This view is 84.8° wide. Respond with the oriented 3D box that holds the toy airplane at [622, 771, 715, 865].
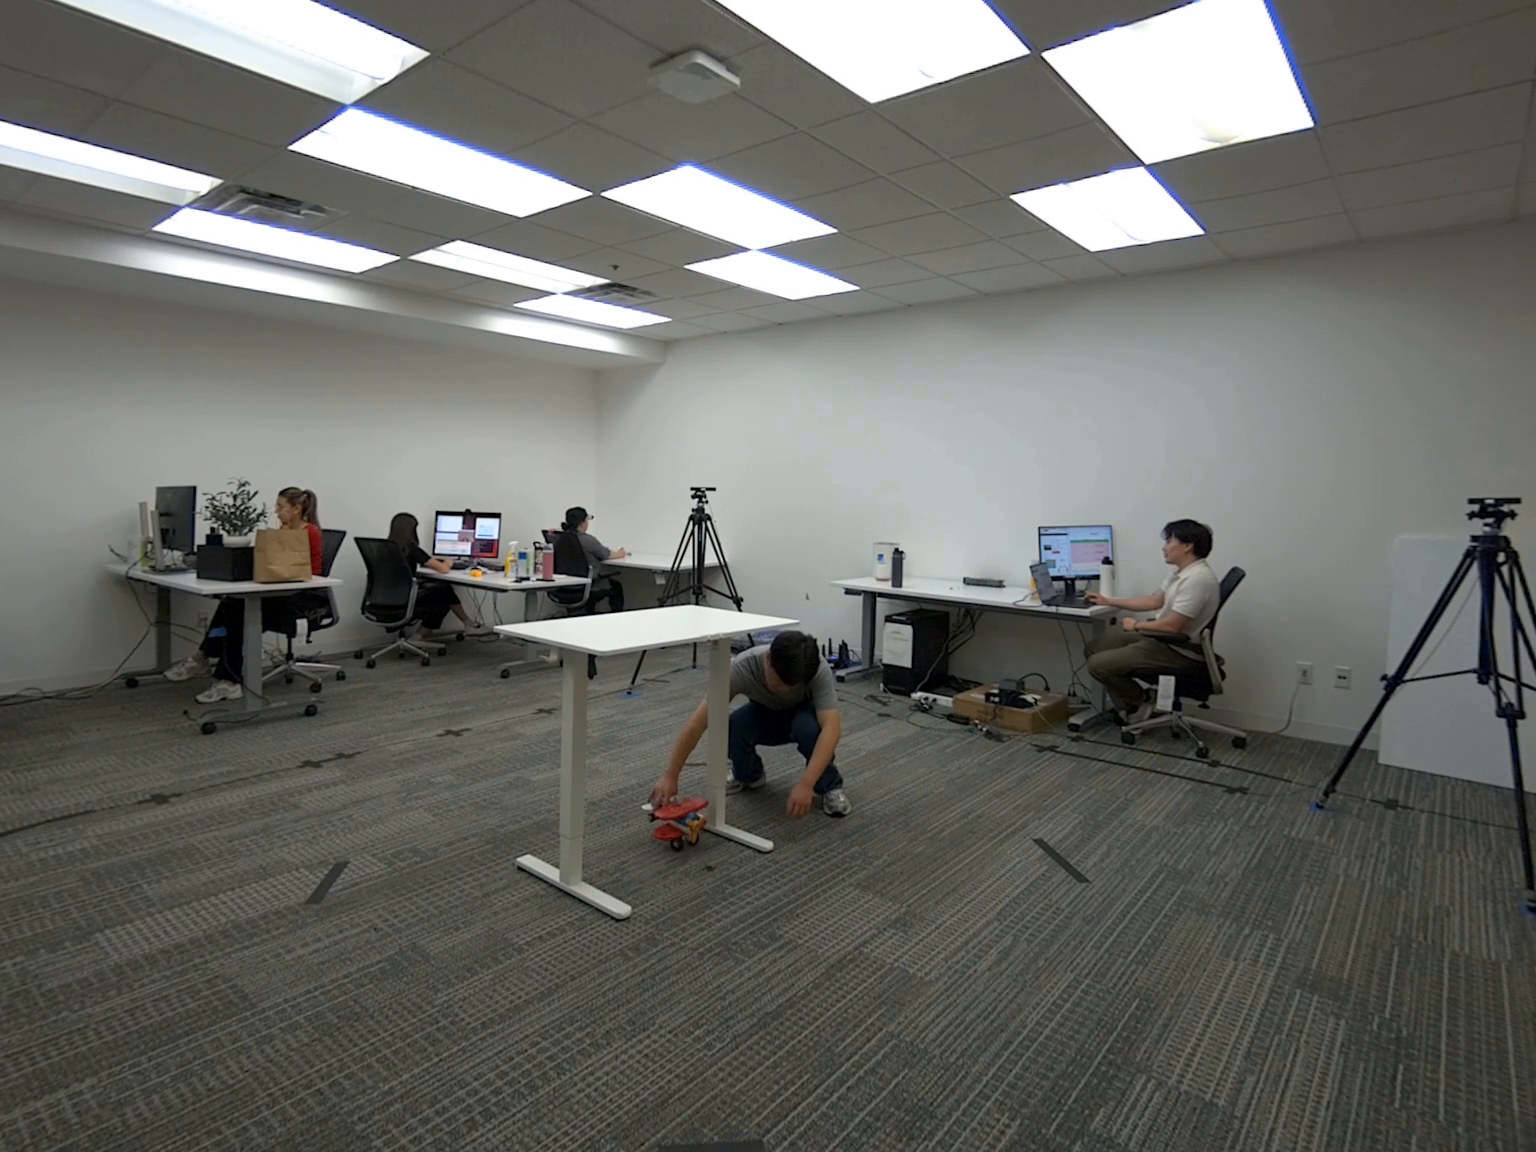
[{"bbox_3d":[-0.390,0.943,3.309,0.263,0.155,0.250,20,17,10],"label":"toy airplane"}]
